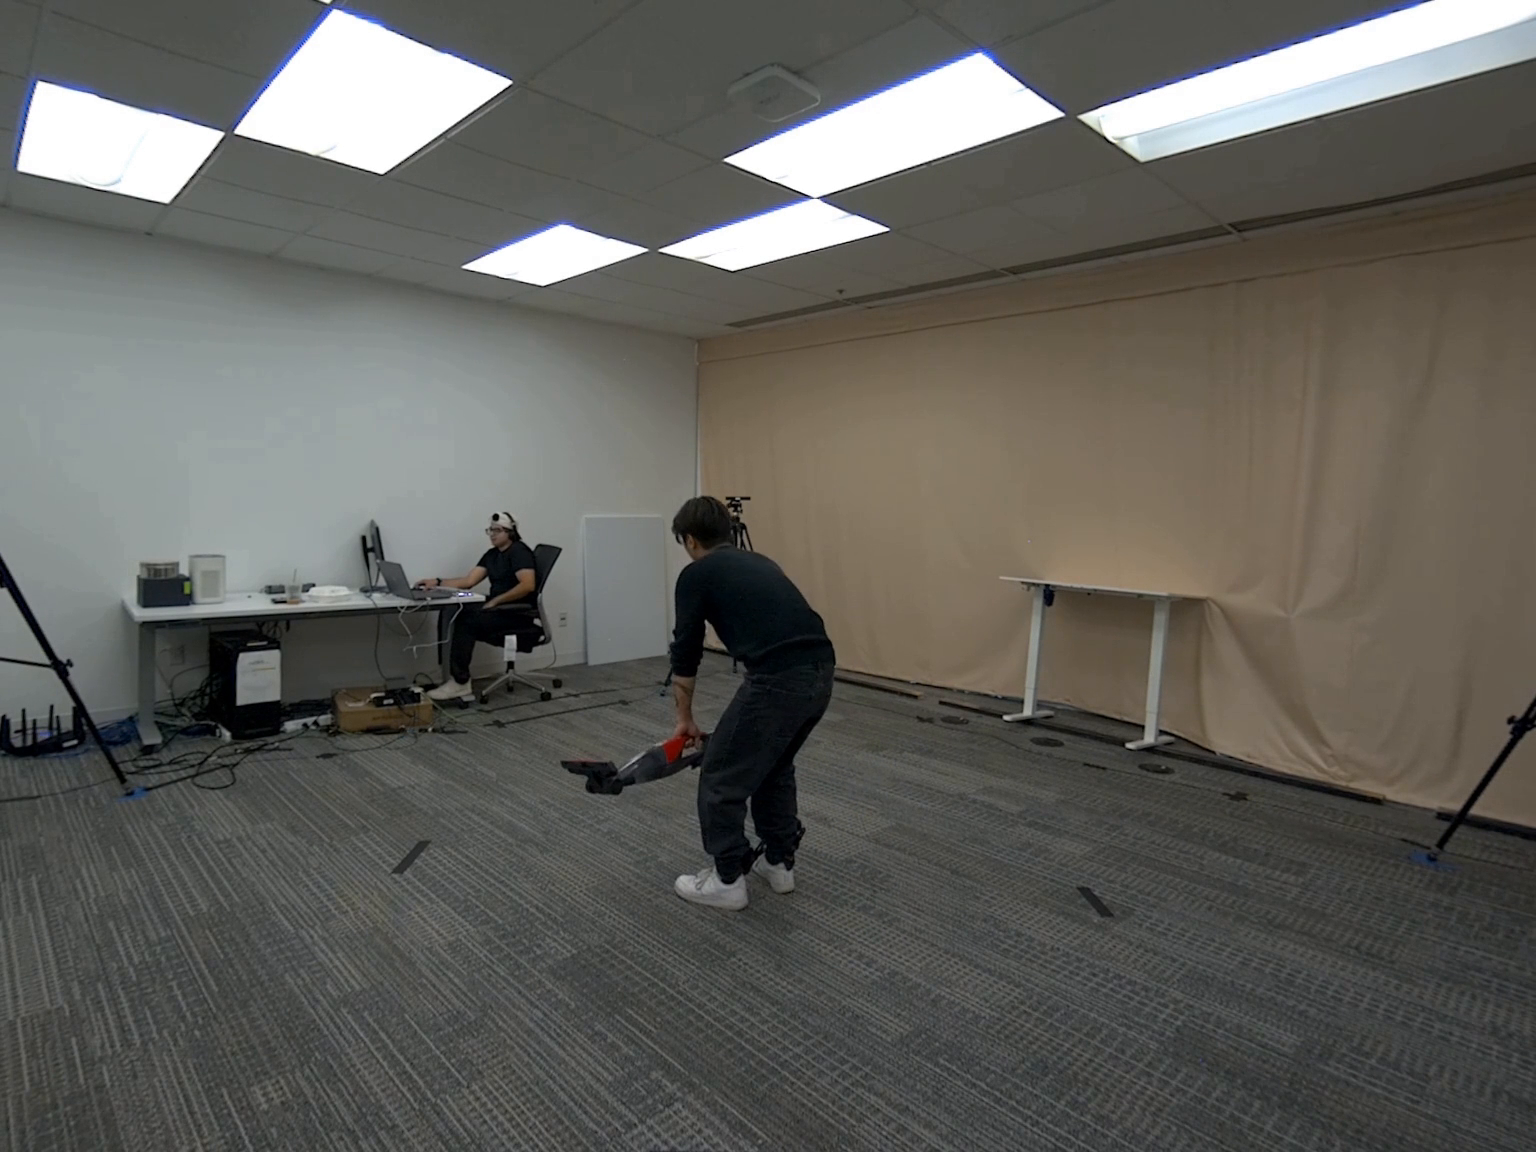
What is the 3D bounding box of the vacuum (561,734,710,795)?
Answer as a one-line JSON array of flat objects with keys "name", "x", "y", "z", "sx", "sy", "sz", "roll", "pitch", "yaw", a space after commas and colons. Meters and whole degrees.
[{"name": "vacuum", "x": -0.239, "y": 0.629, "z": 3.086, "sx": 0.257, "sy": 0.144, "sz": 1.025, "roll": -8, "pitch": -3, "yaw": 41}]
